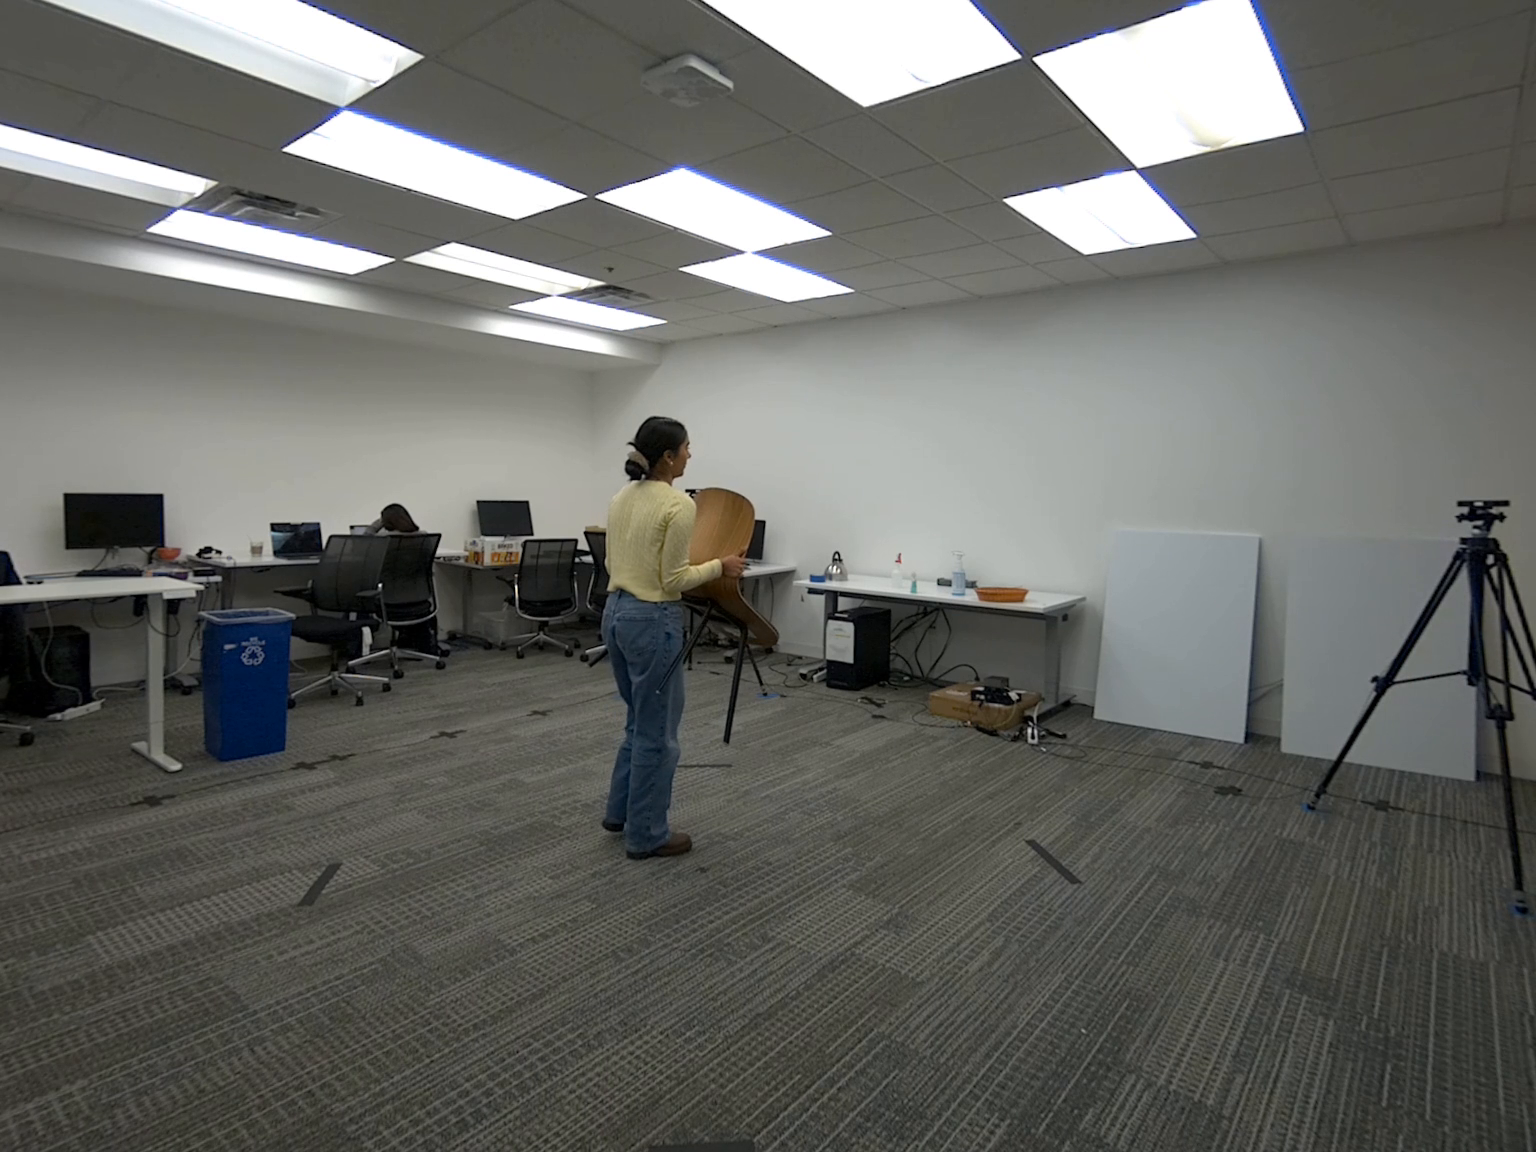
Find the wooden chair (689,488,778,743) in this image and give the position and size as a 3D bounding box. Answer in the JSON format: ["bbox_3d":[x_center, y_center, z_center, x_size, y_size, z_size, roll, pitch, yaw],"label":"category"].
[{"bbox_3d":[-0.245,0.147,3.459,0.495,0.883,0.501,8,-23,44],"label":"wooden chair"}]
